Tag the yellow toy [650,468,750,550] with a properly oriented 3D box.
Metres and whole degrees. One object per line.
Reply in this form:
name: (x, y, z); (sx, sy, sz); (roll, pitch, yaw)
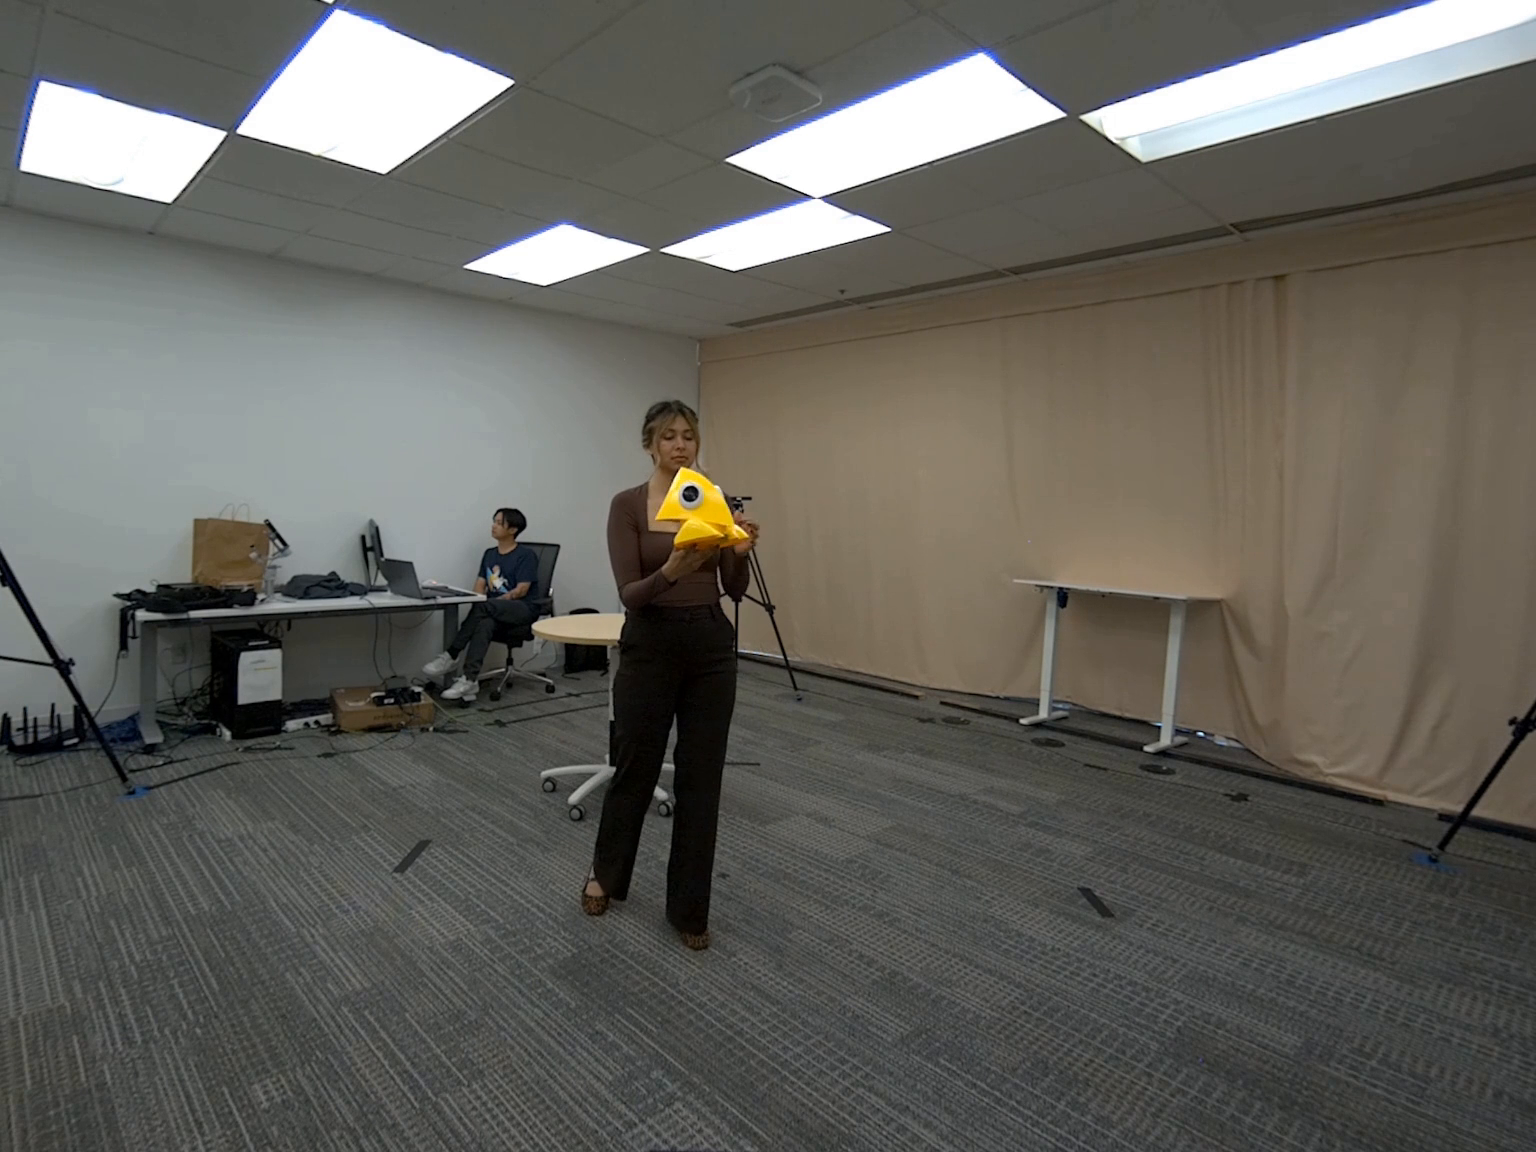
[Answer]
yellow toy: (-0.191, -0.202, 2.301); (0.196, 0.232, 0.200); (-14, -10, 35)
